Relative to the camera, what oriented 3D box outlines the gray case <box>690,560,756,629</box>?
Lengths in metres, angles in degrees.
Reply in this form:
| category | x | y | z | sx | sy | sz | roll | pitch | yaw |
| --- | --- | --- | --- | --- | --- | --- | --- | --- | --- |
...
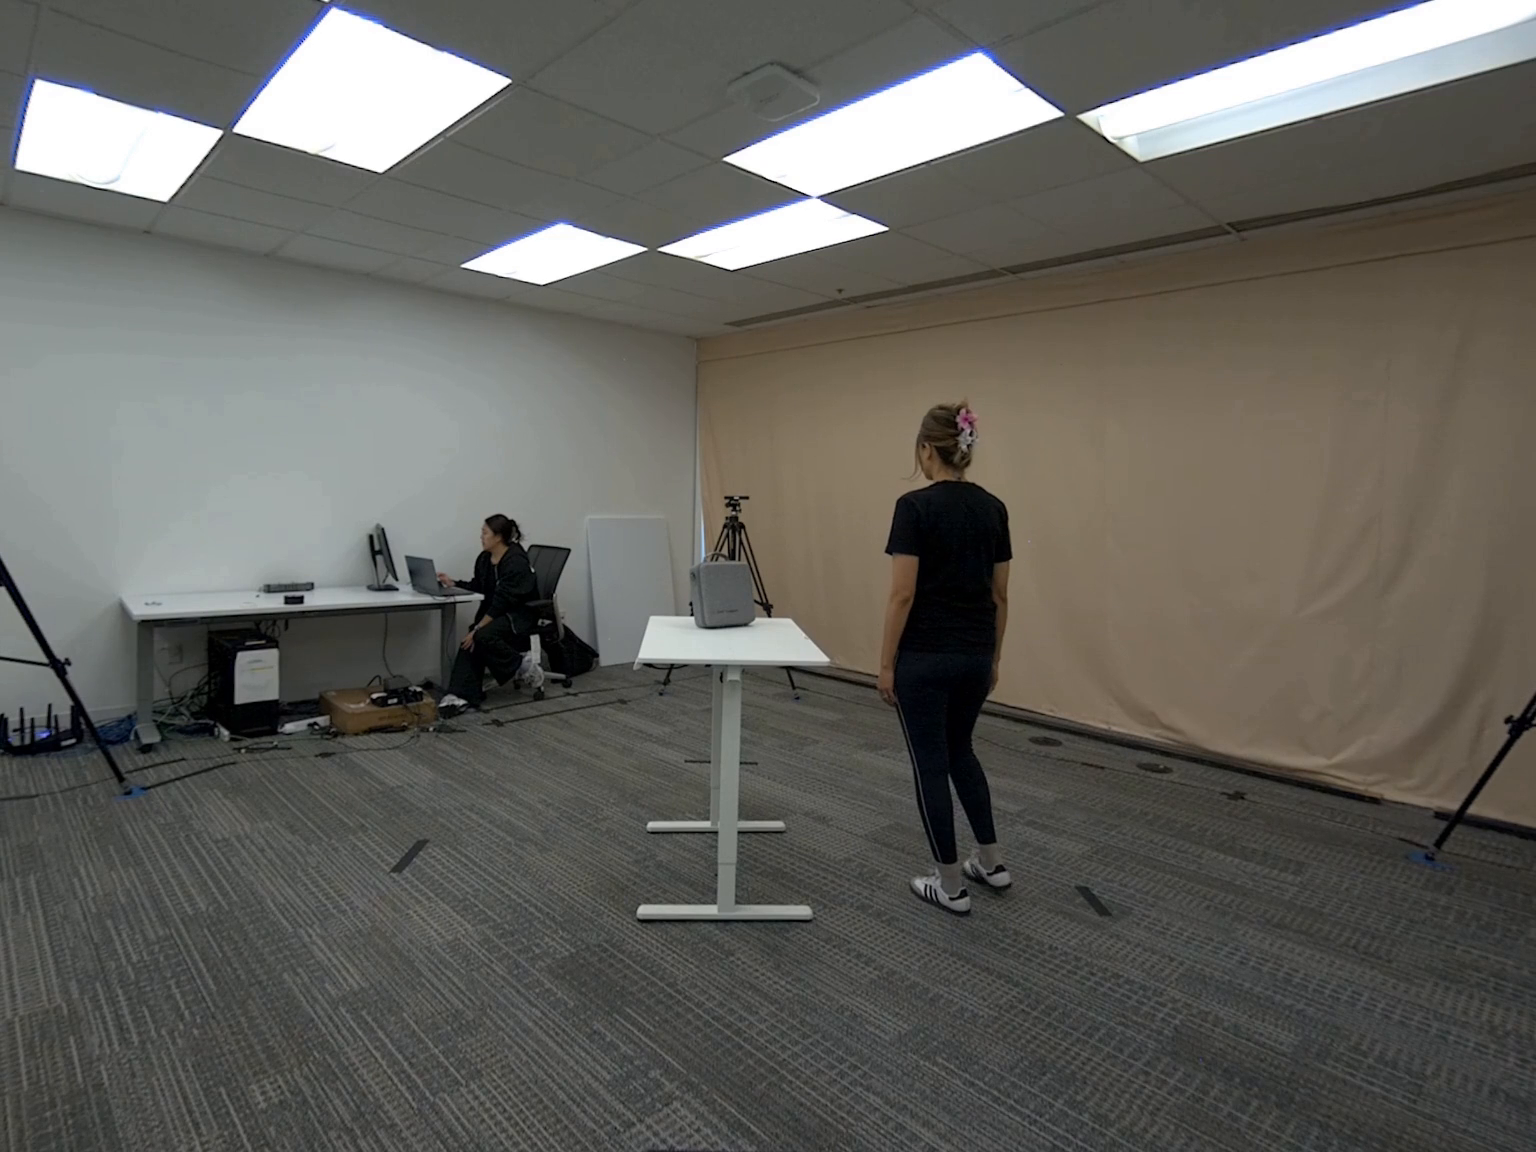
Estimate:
| category | x | y | z | sx | sy | sz | roll | pitch | yaw |
| --- | --- | --- | --- | --- | --- | --- | --- | --- | --- |
| gray case | -0.188 | 0.070 | 3.343 | 0.251 | 0.262 | 0.106 | -1 | -9 | -39 |
